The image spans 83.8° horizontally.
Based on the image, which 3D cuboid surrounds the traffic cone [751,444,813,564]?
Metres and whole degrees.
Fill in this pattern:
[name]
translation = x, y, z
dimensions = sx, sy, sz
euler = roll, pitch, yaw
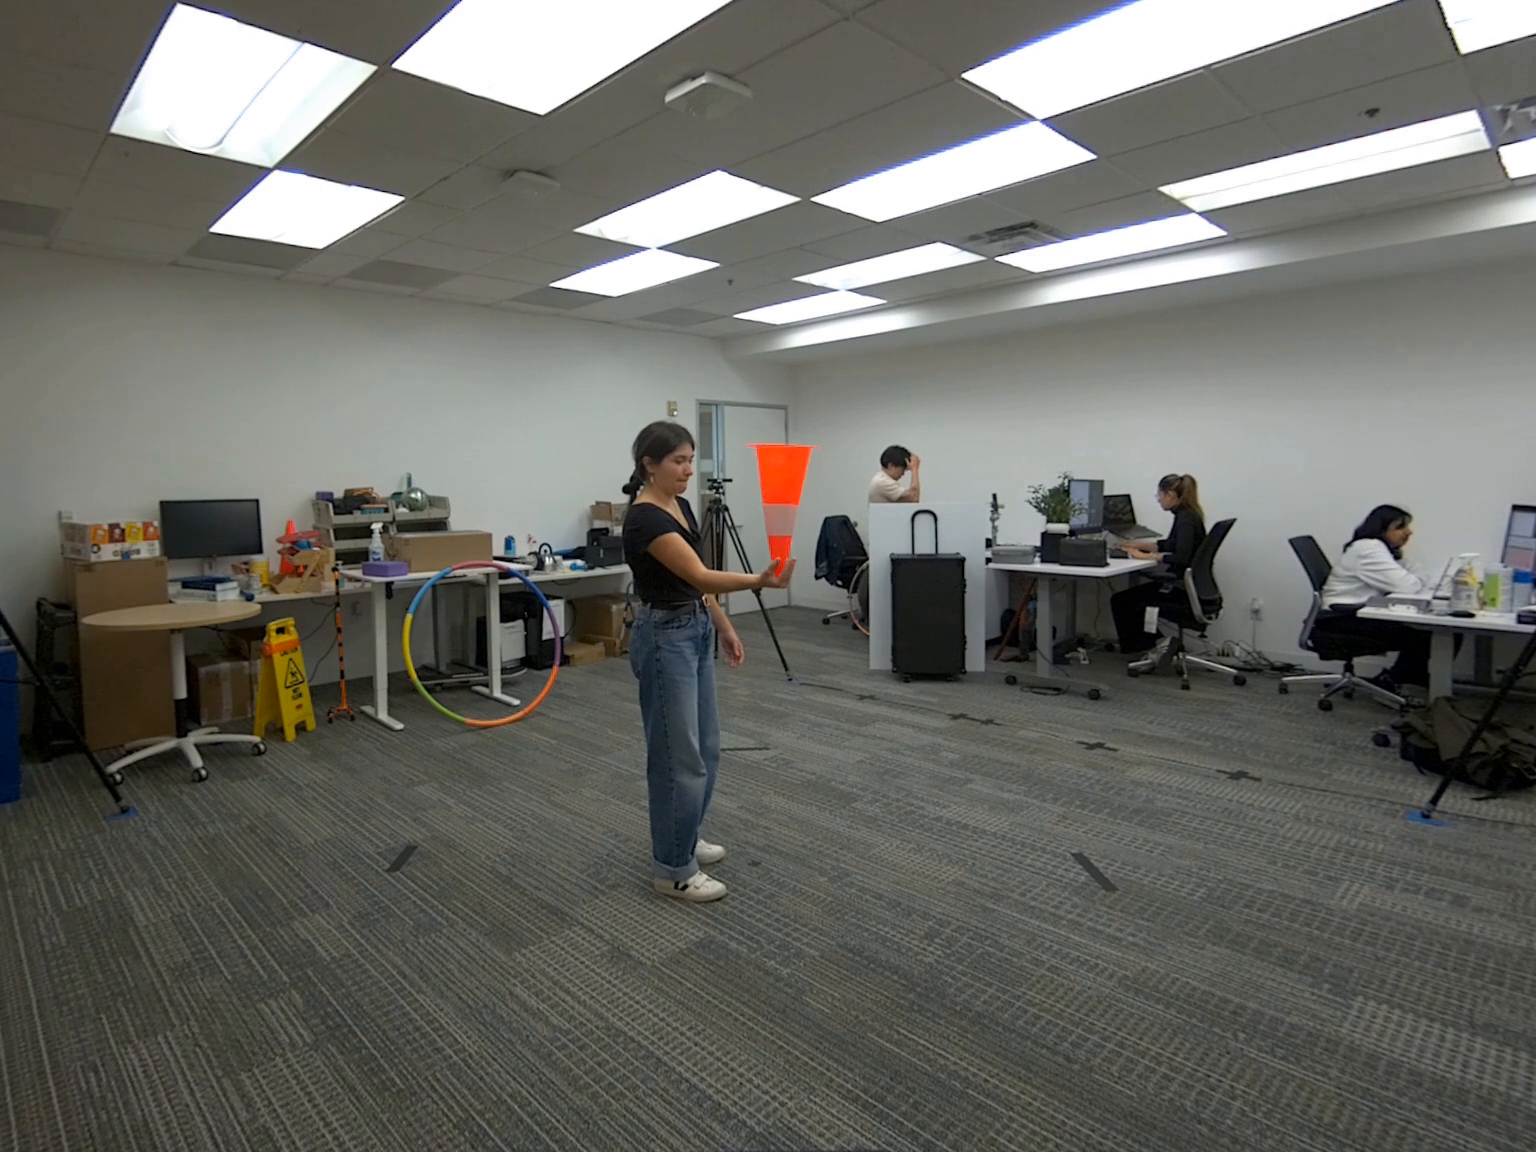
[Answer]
[traffic cone]
translation = 0.054, -0.181, 2.465
dimensions = 0.207, 0.383, 0.202
euler = 0, 2, 8
